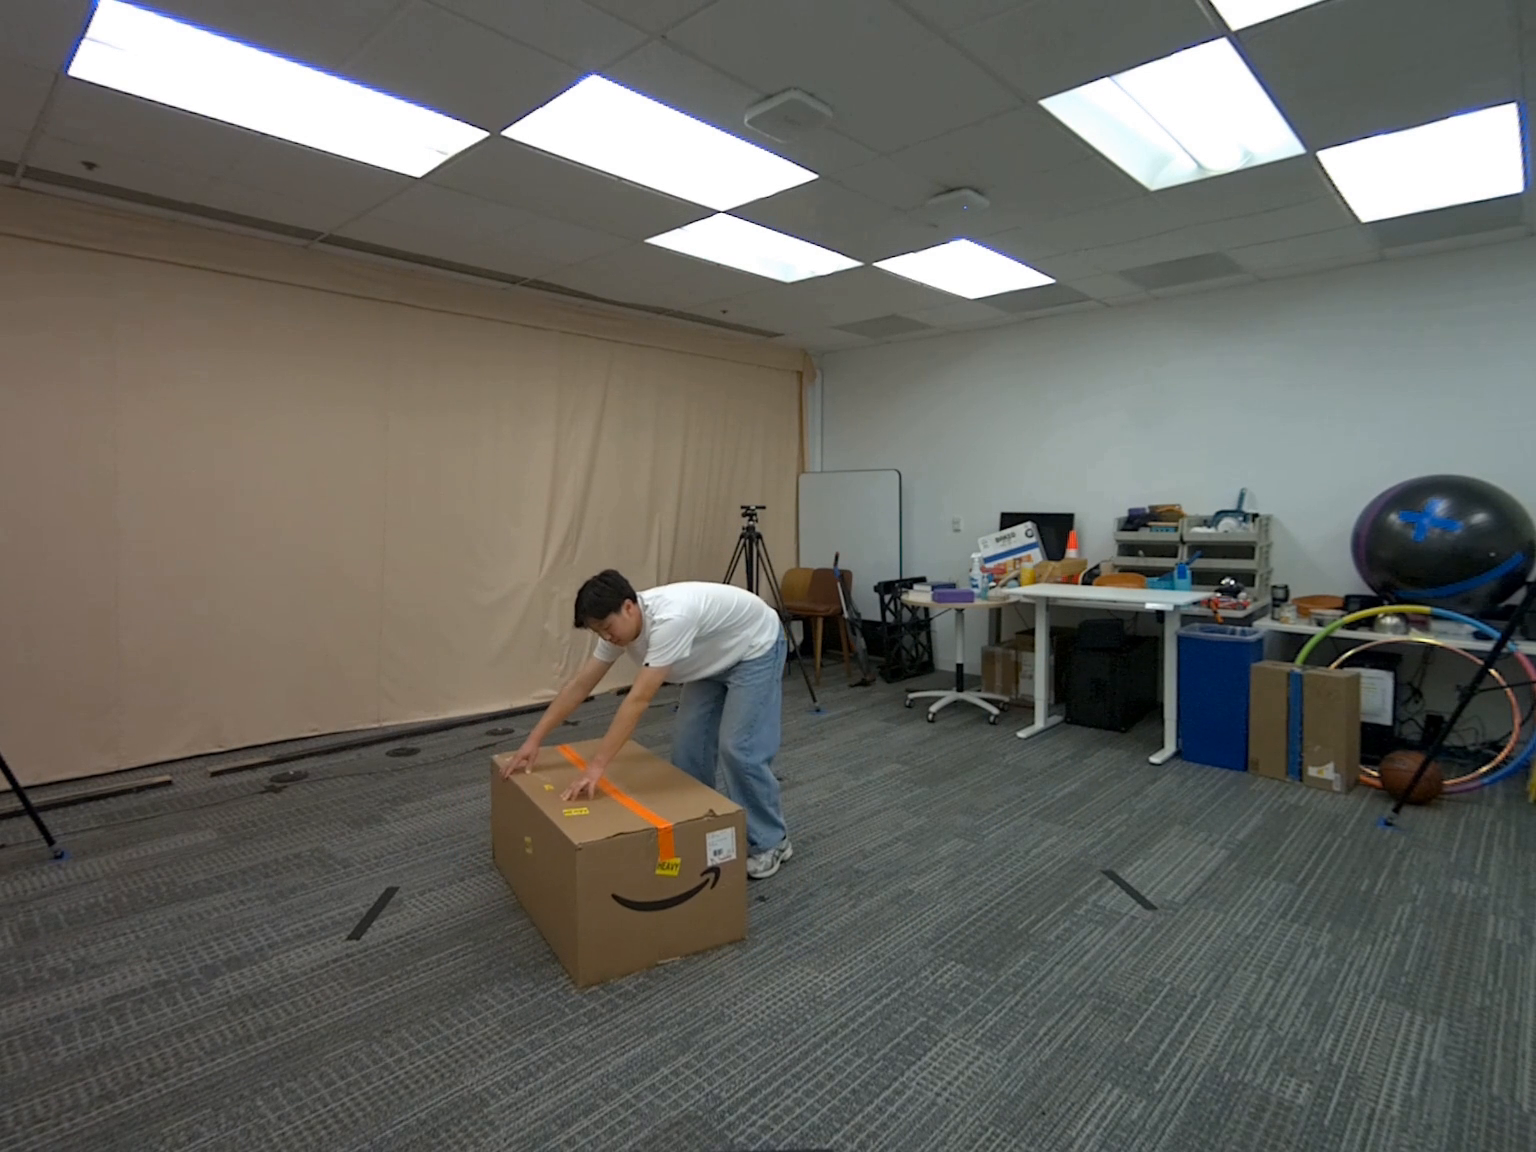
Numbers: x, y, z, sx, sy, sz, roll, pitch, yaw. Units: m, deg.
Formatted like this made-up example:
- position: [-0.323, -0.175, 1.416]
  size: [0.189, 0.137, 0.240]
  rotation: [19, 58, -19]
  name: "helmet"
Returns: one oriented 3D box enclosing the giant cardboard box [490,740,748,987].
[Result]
- position: [-0.581, 0.934, 2.996]
  size: [0.562, 0.425, 1.056]
  rotation: [-3, 5, -31]
  name: "giant cardboard box"
